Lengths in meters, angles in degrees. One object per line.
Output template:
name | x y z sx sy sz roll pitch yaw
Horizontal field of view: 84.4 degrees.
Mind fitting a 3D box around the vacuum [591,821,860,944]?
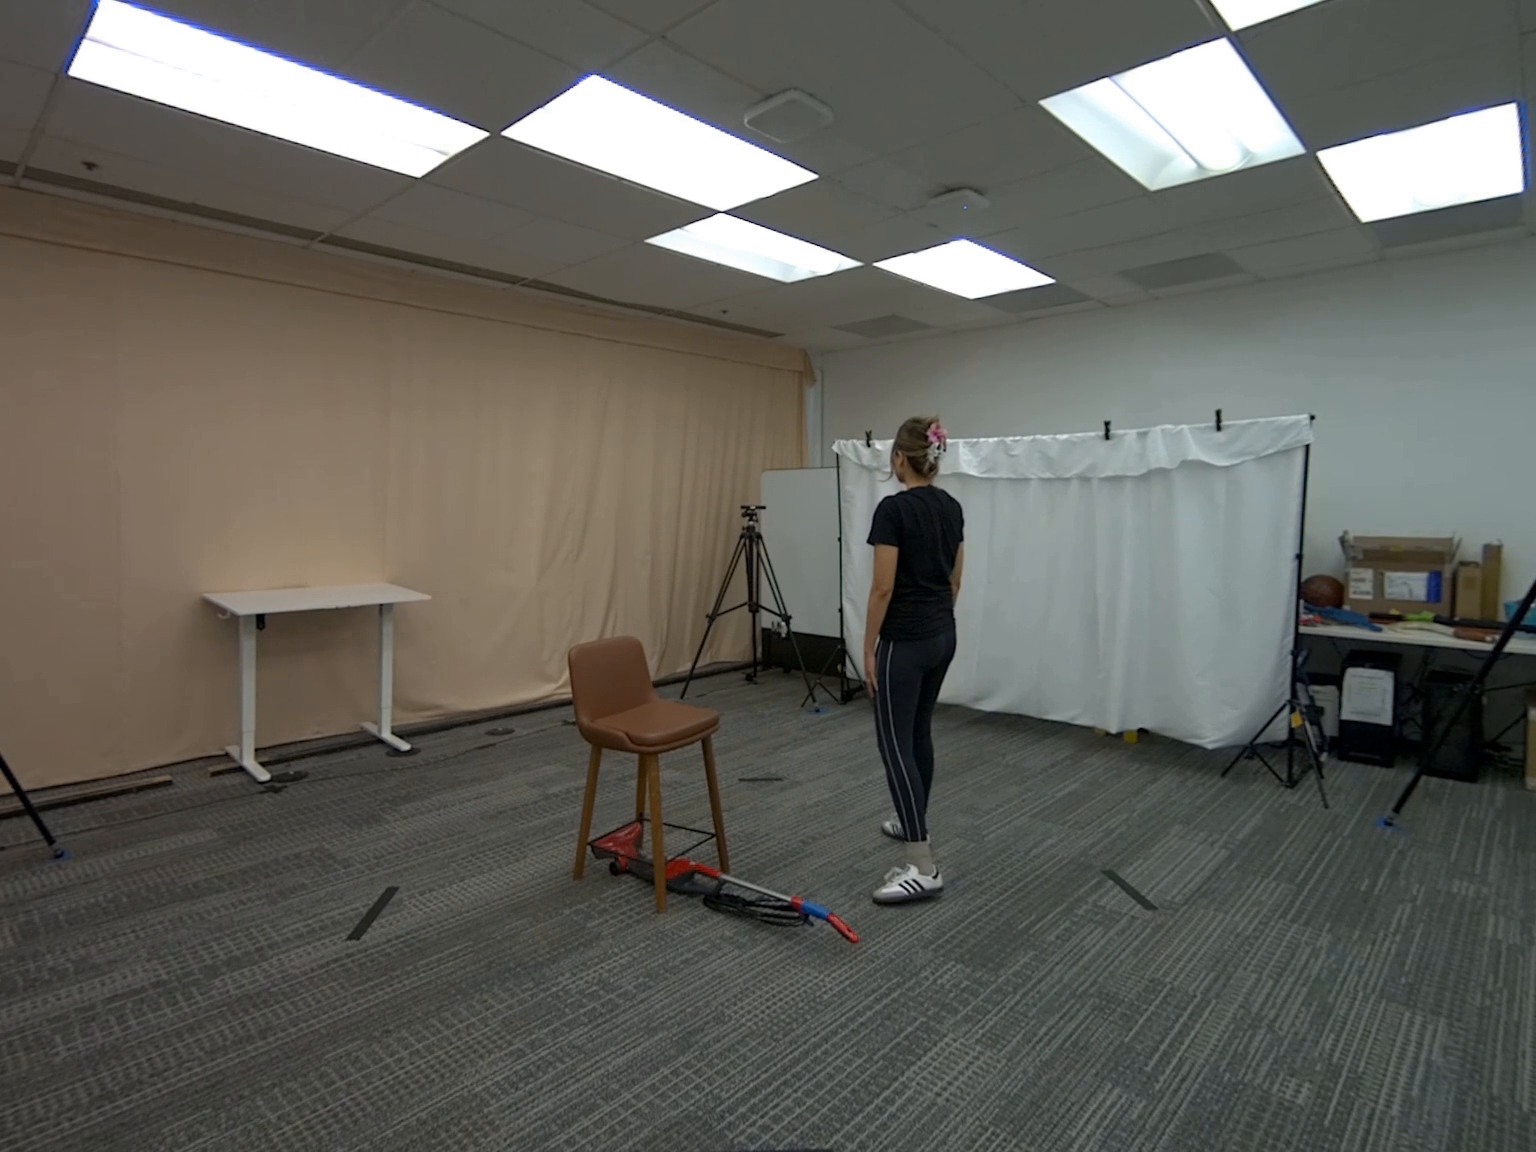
vacuum | -0.144 1.092 2.905 1.084 0.143 0.245 5 6 39
